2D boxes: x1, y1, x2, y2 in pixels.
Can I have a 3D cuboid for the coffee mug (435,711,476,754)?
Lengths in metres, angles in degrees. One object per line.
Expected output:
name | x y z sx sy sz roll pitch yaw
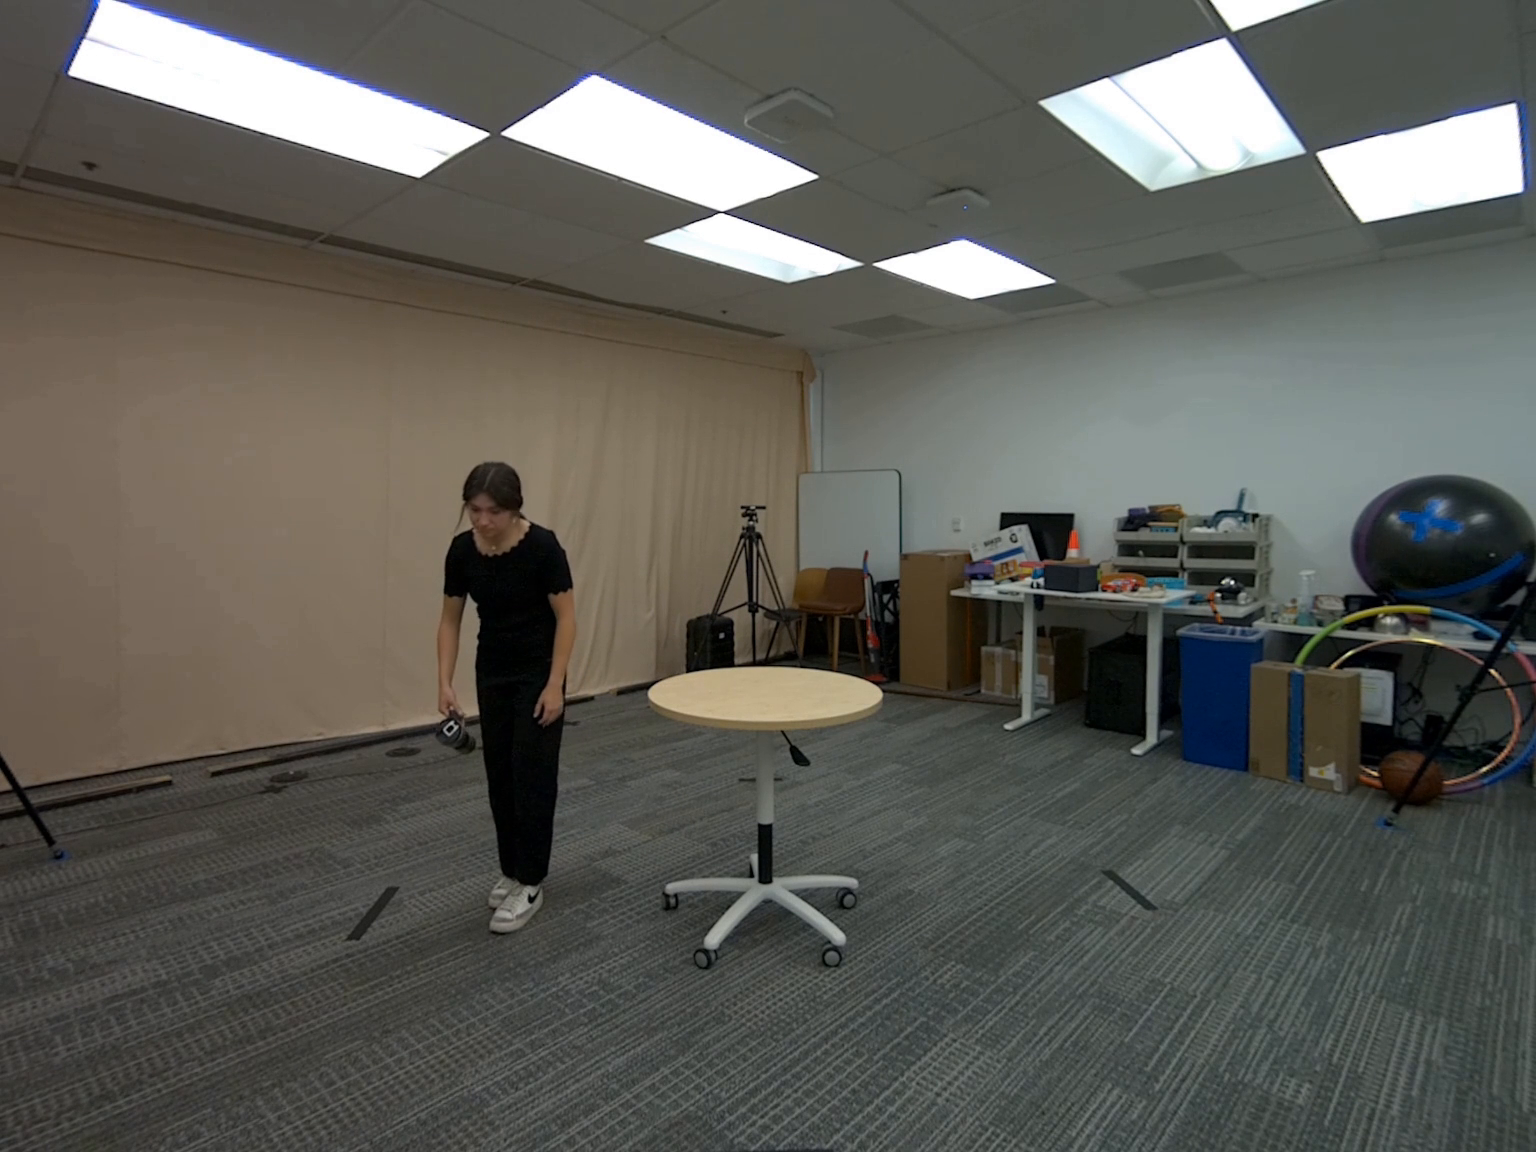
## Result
coffee mug | -1.057 0.538 2.882 0.087 0.124 0.200 -11 -22 -4
